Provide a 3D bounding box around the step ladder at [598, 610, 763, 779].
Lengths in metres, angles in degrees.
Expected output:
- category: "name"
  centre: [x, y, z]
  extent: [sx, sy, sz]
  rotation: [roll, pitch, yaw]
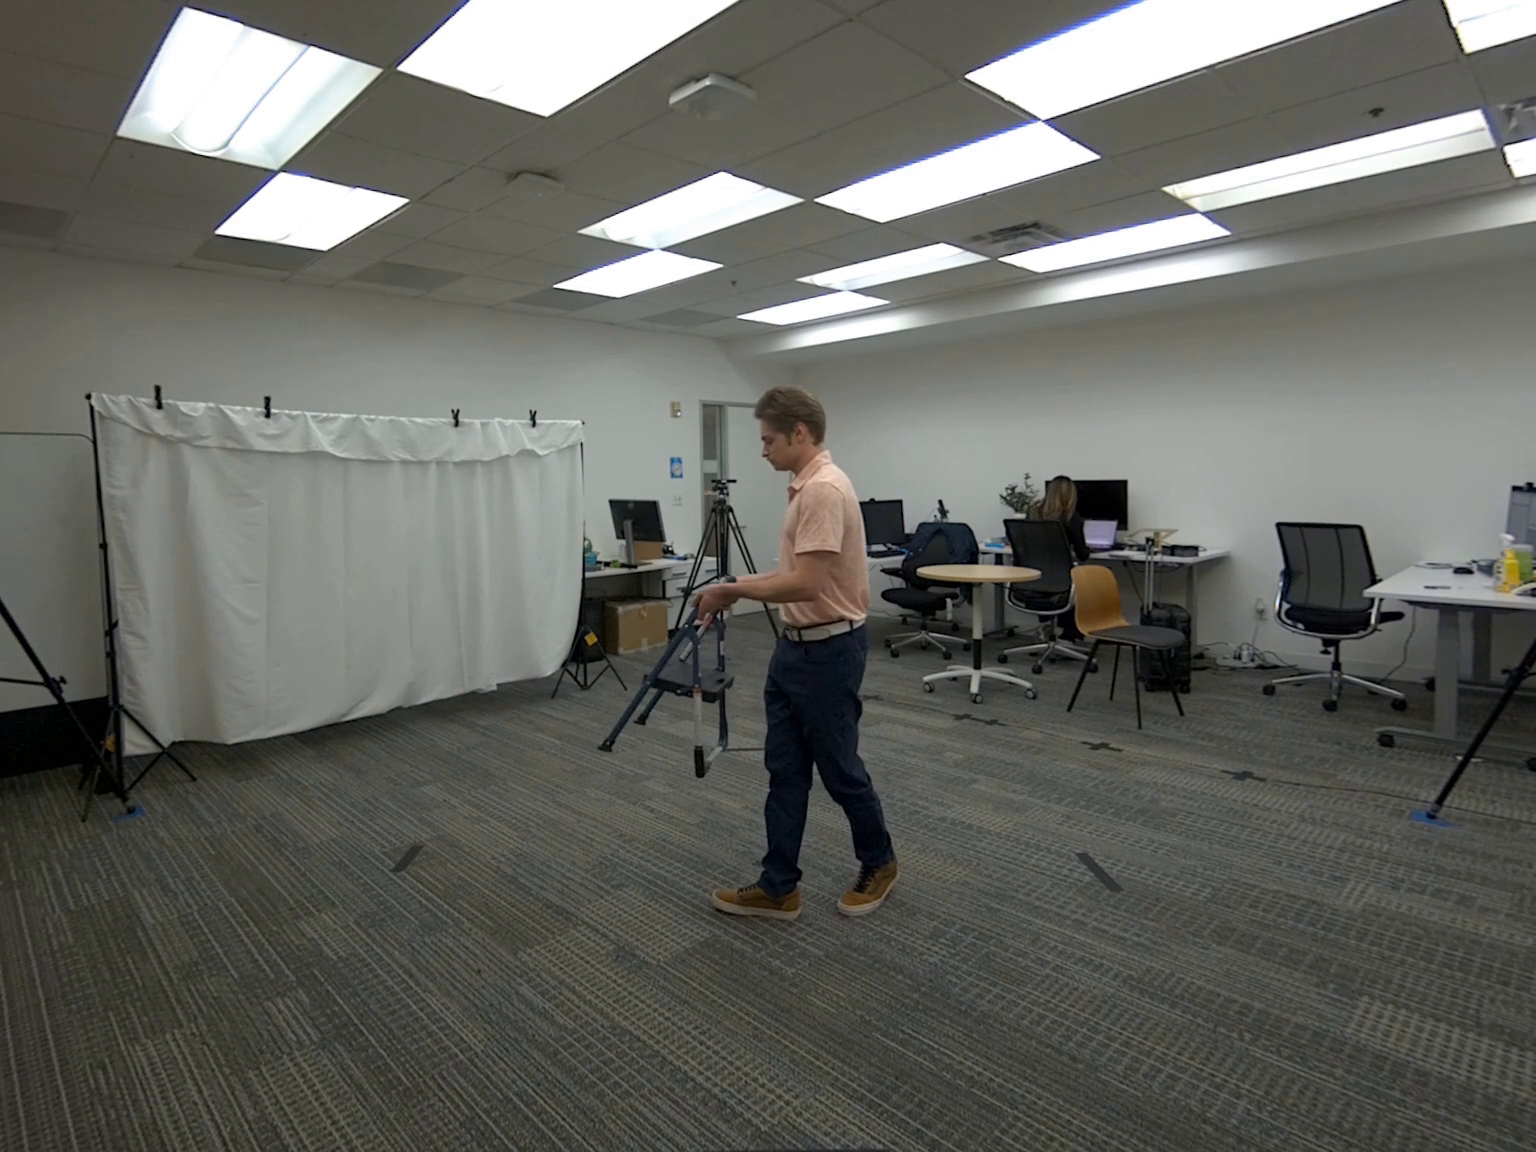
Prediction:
- category: "step ladder"
  centre: [-0.258, 0.283, 2.823]
  extent: [0.353, 0.605, 0.427]
  rotation: [14, 2, 8]
